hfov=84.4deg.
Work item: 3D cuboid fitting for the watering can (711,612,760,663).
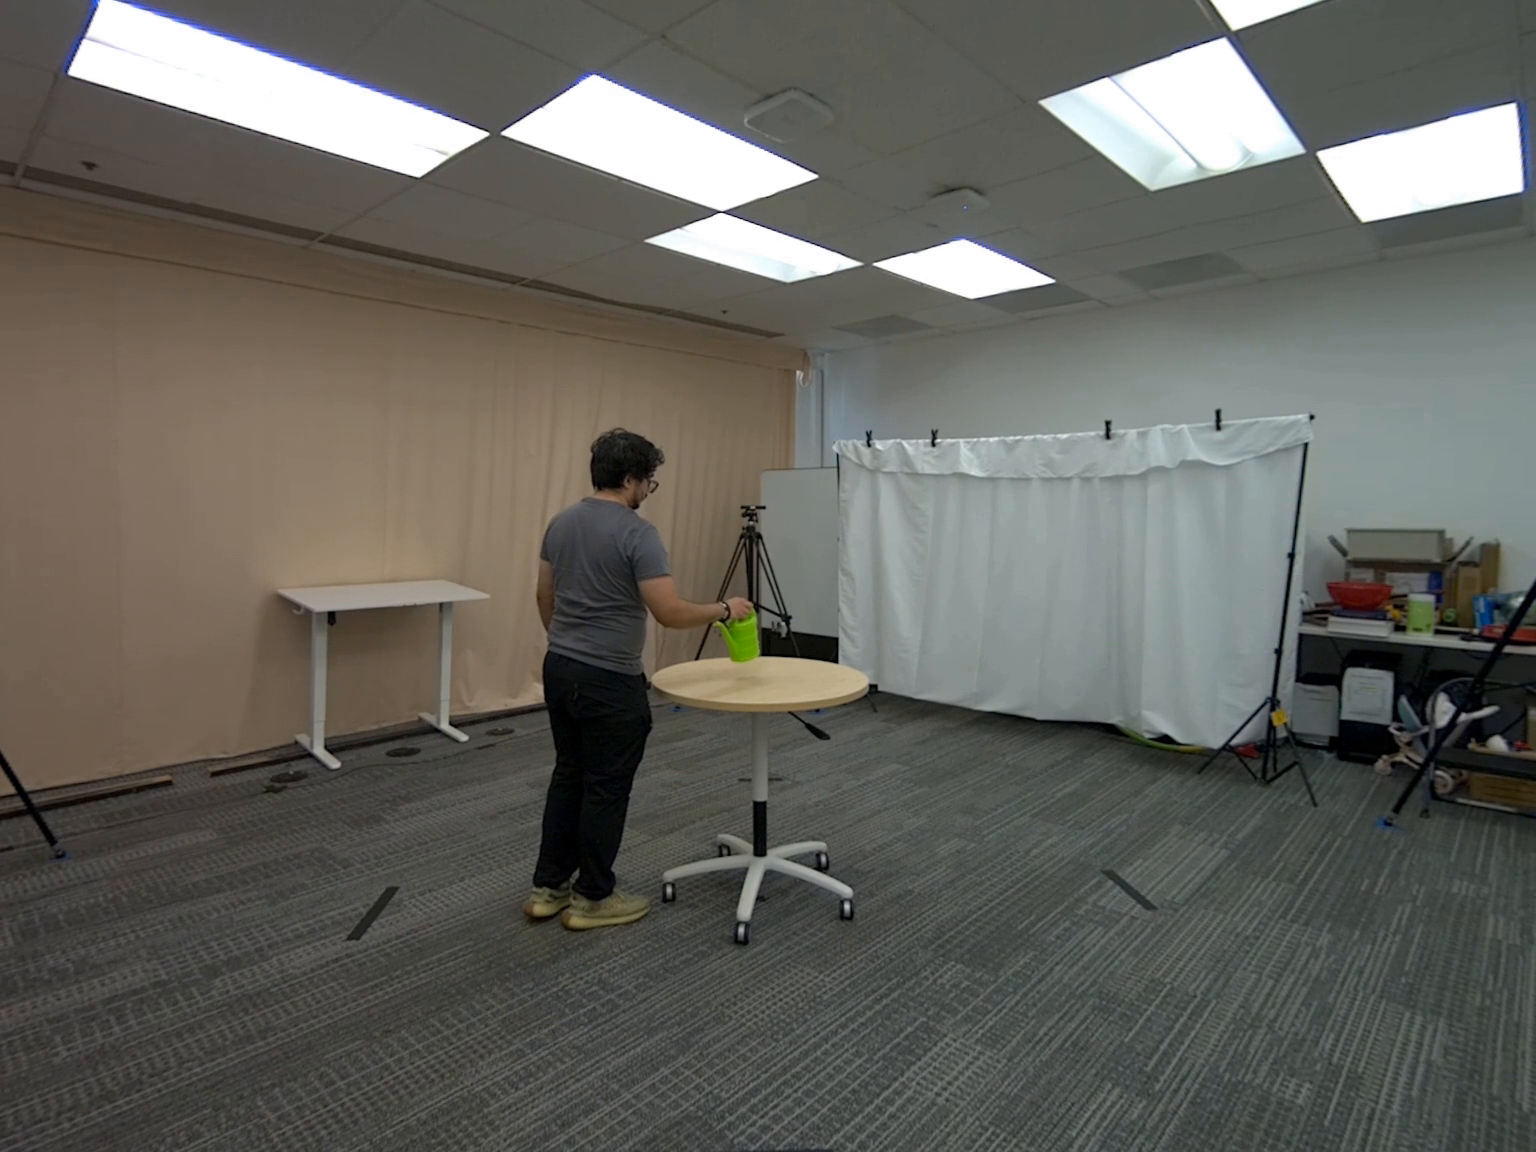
[{"bbox_3d":[-0.118,0.208,2.896,0.101,0.176,0.271,3,12,43],"label":"watering can"}]
